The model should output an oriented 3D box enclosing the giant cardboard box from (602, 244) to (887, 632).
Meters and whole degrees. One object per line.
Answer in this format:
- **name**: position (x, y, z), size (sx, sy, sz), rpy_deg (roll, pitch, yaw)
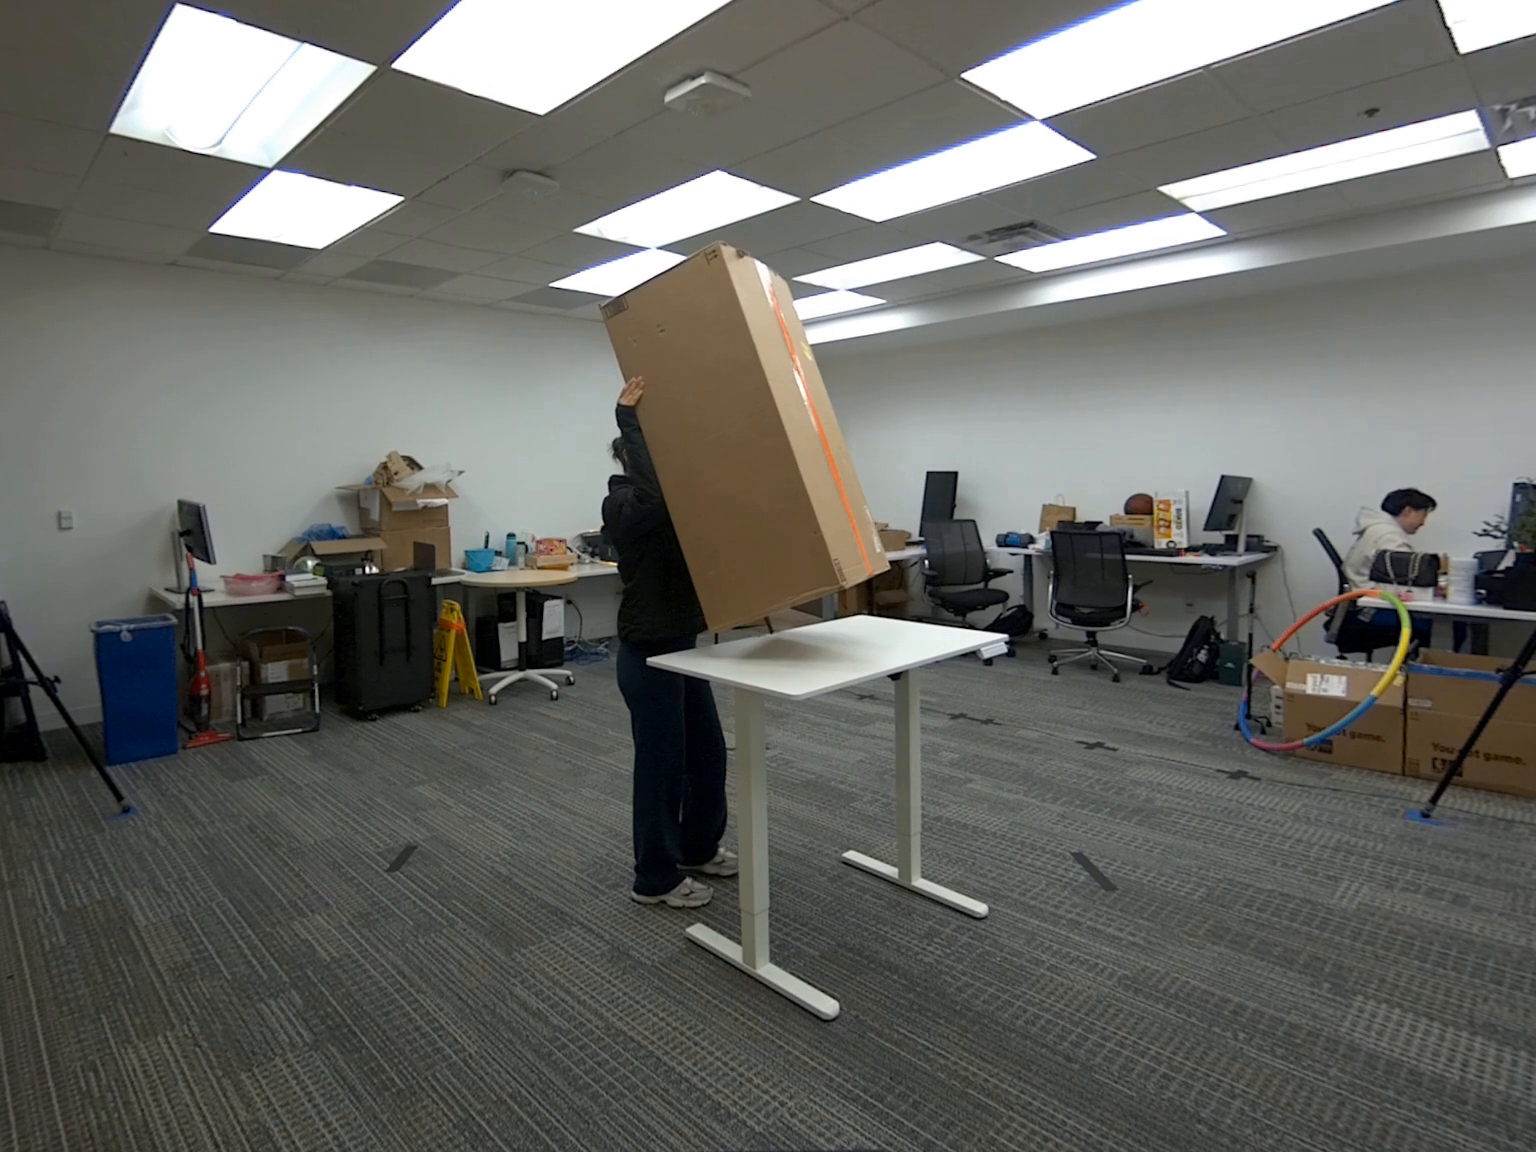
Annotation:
- **giant cardboard box**: position (-0.049, -0.411, 2.666), size (0.453, 1.033, 0.573), rpy_deg (-21, -4, 24)
